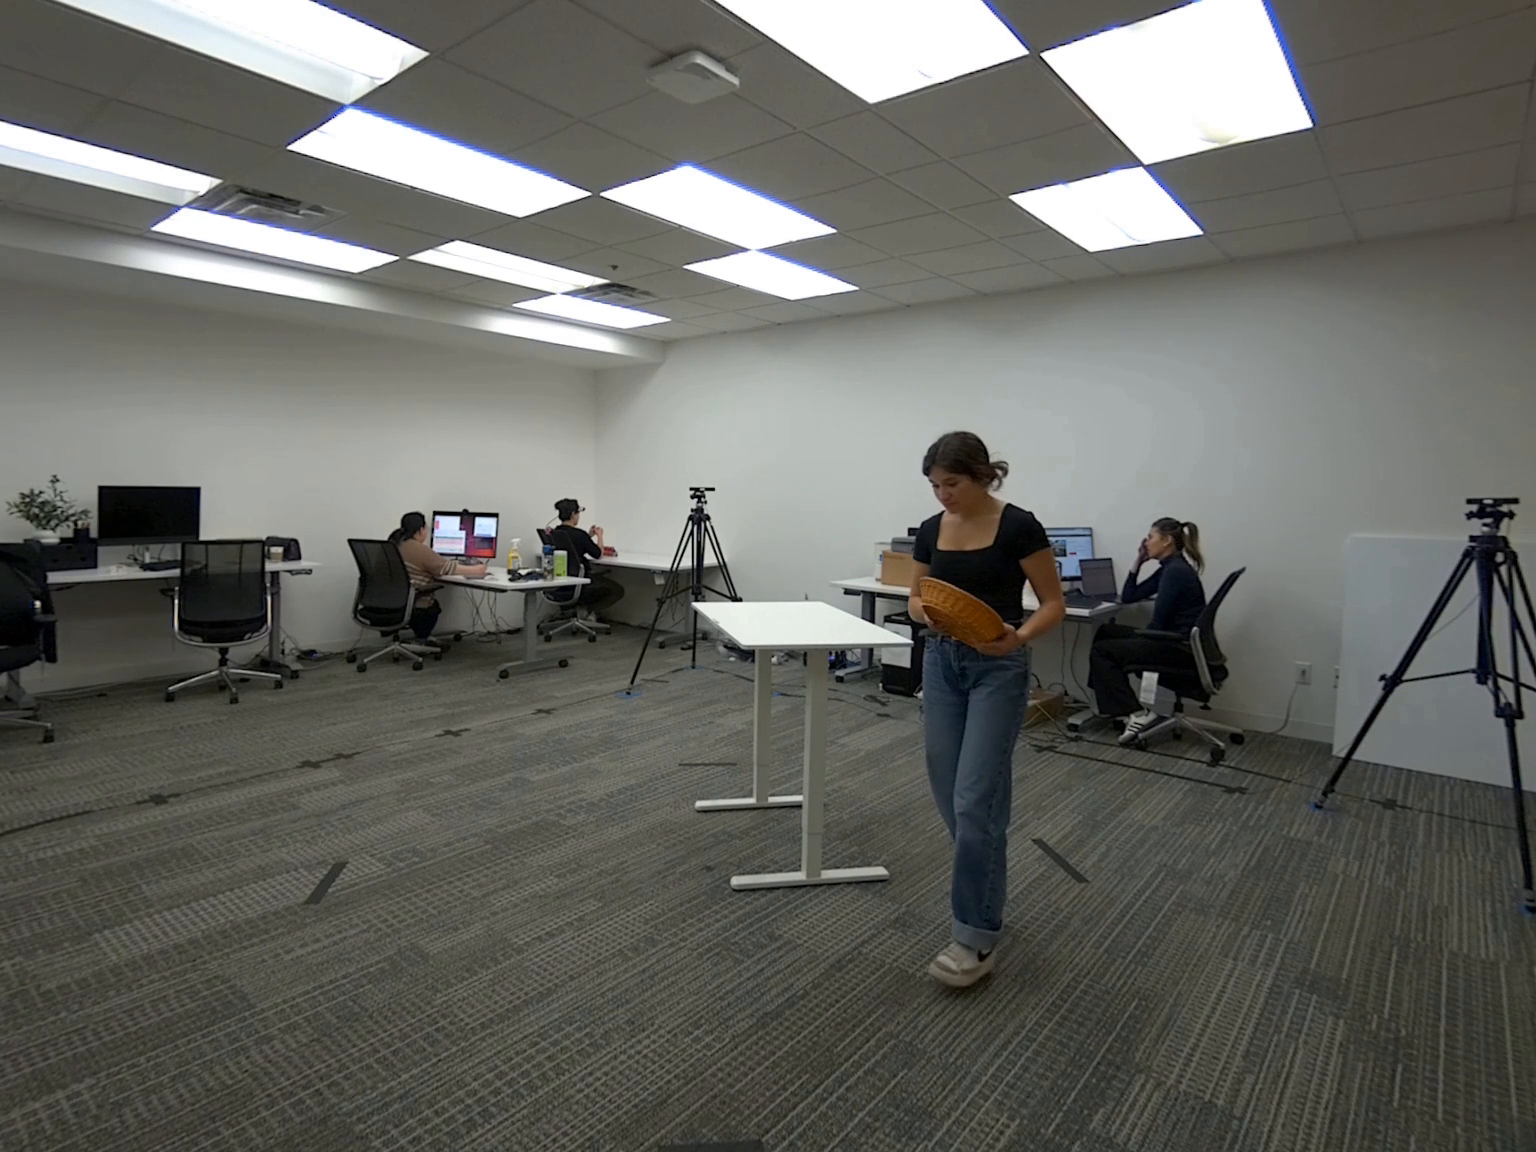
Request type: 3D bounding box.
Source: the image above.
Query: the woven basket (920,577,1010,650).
[{"bbox_3d":[0.524,0.114,2.370,0.262,0.073,0.336,26,-10,33],"label":"woven basket"}]
